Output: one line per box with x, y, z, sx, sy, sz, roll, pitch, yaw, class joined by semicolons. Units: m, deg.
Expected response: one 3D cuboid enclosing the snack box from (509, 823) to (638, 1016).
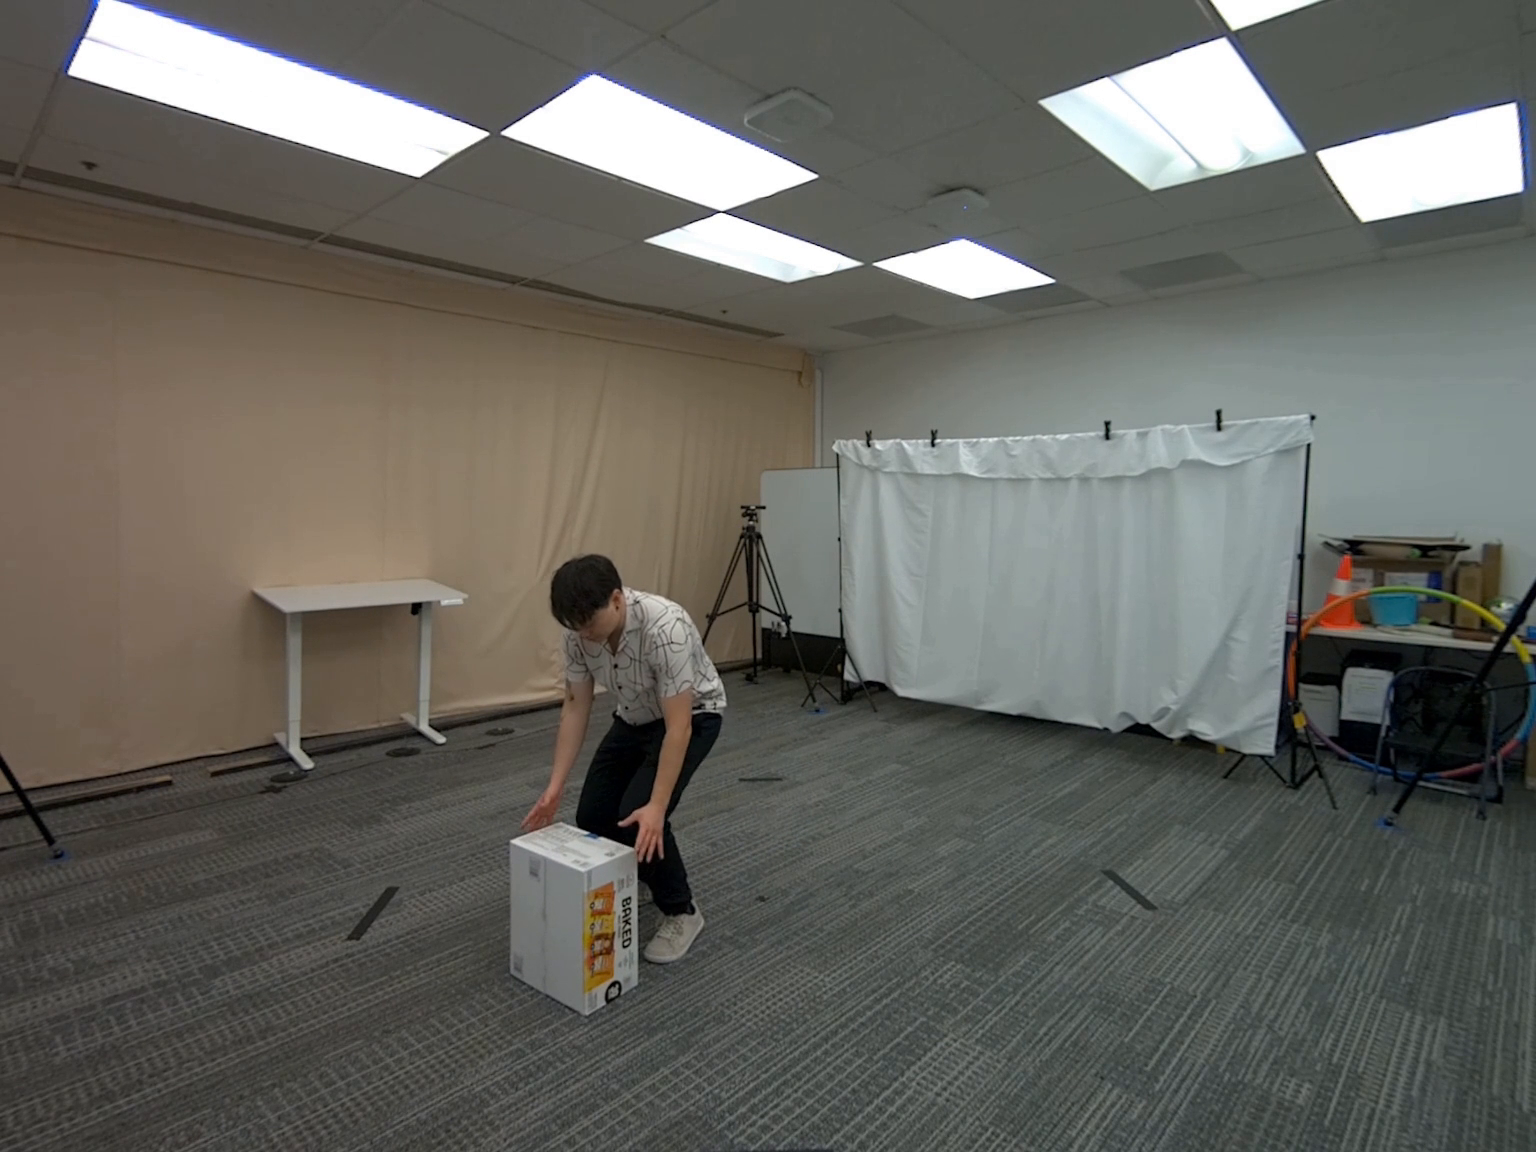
-0.572;0.991;2.471;0.351;0.404;0.199;2;4;38;snack box
